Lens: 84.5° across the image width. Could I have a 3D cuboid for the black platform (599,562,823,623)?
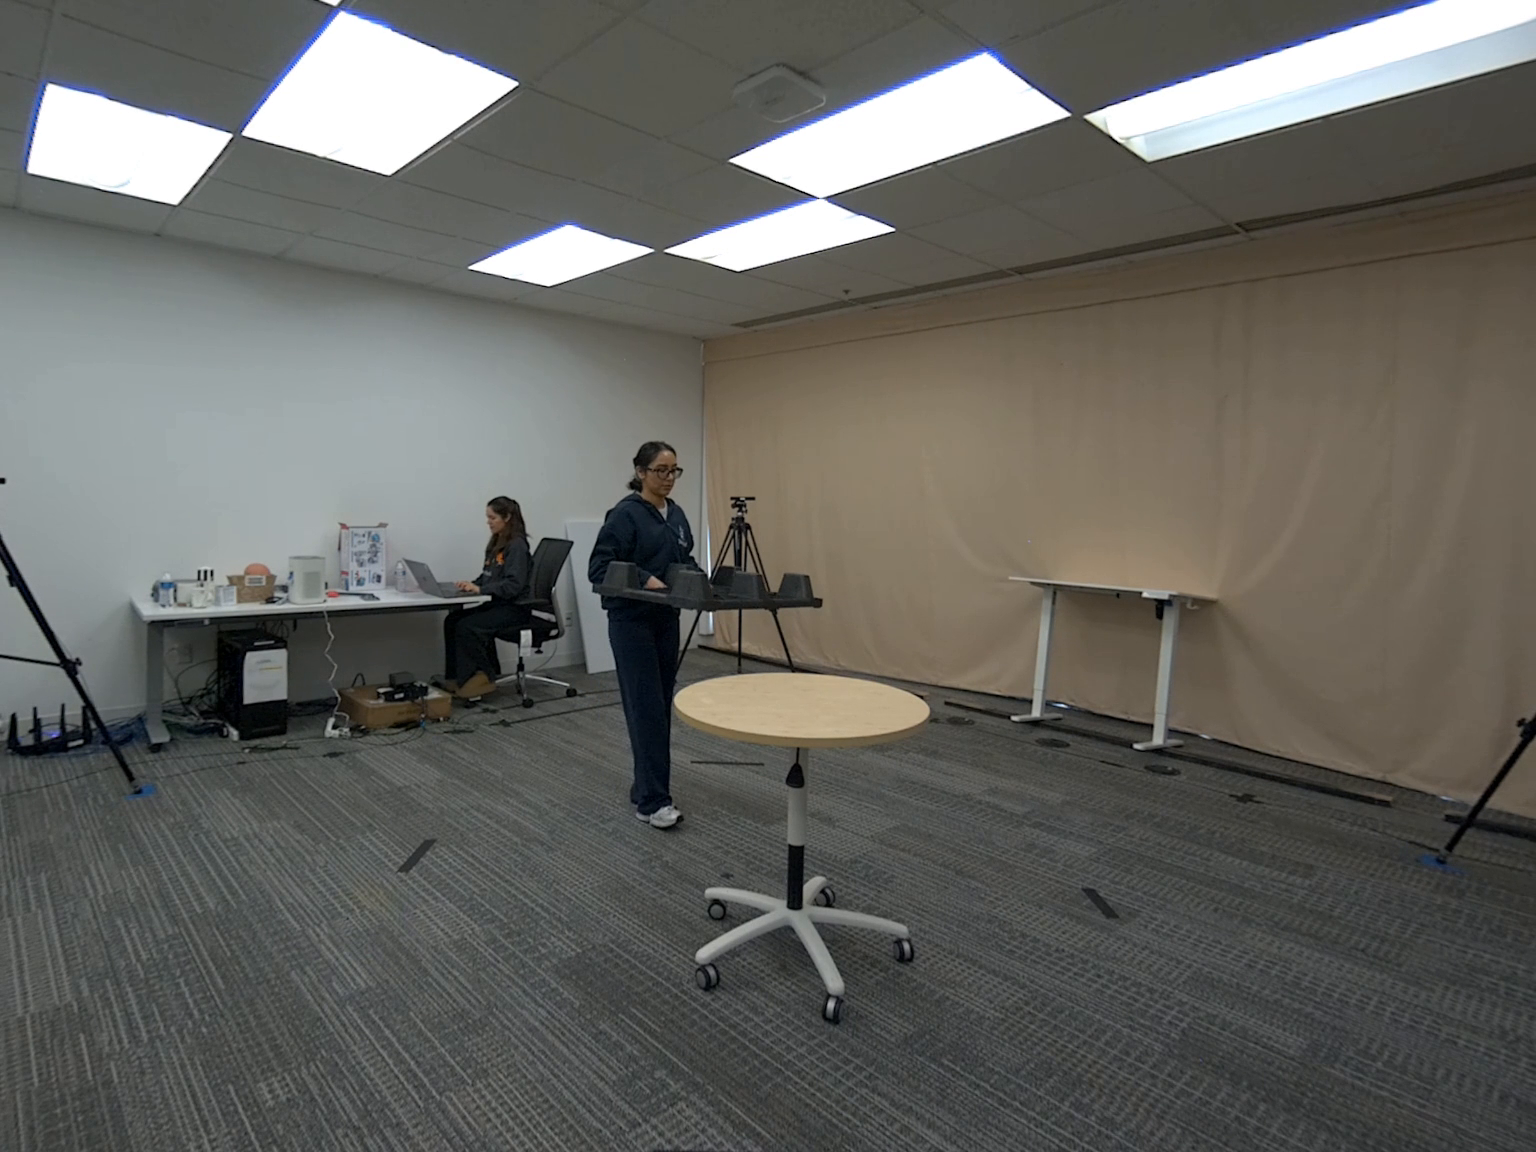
[{"bbox_3d":[-0.233,0.038,3.470,0.620,0.143,0.786,7,3,37],"label":"black platform"}]
